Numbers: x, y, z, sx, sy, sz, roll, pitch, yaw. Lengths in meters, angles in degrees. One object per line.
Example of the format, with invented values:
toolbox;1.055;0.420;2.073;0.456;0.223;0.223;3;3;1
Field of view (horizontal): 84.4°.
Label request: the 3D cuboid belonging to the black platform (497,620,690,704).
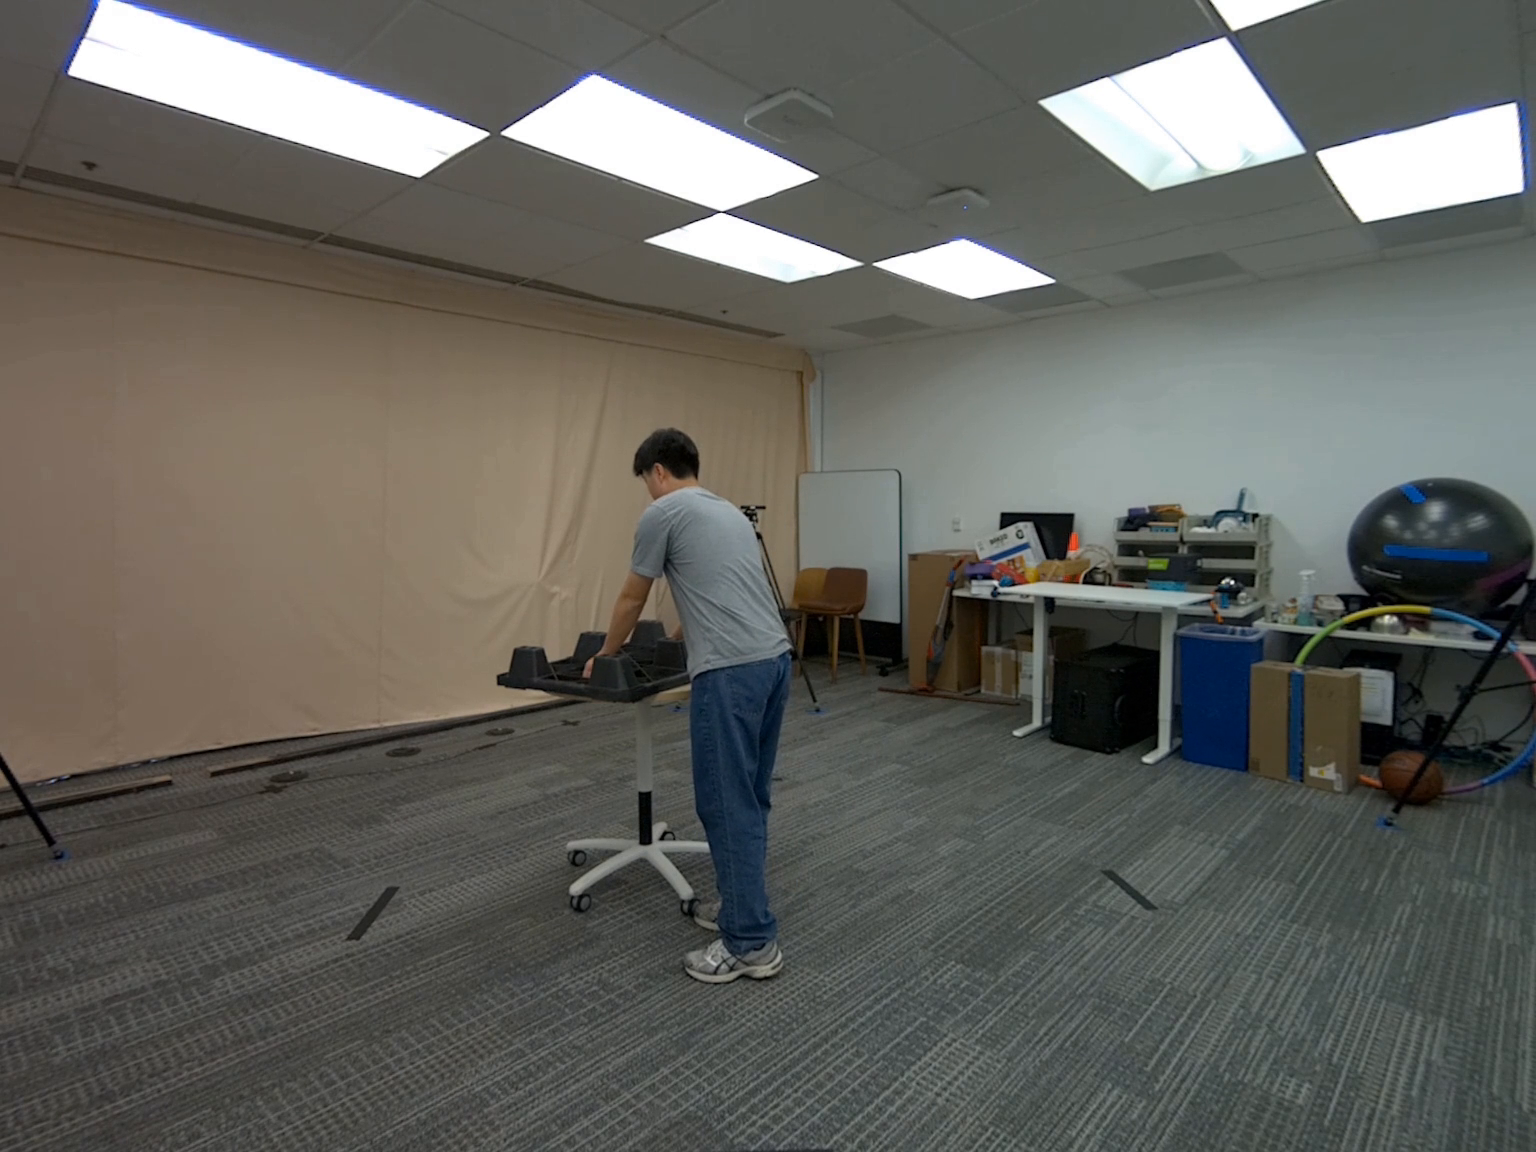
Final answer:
black platform;-0.496;0.294;3.090;0.623;0.143;0.784;1;6;31
